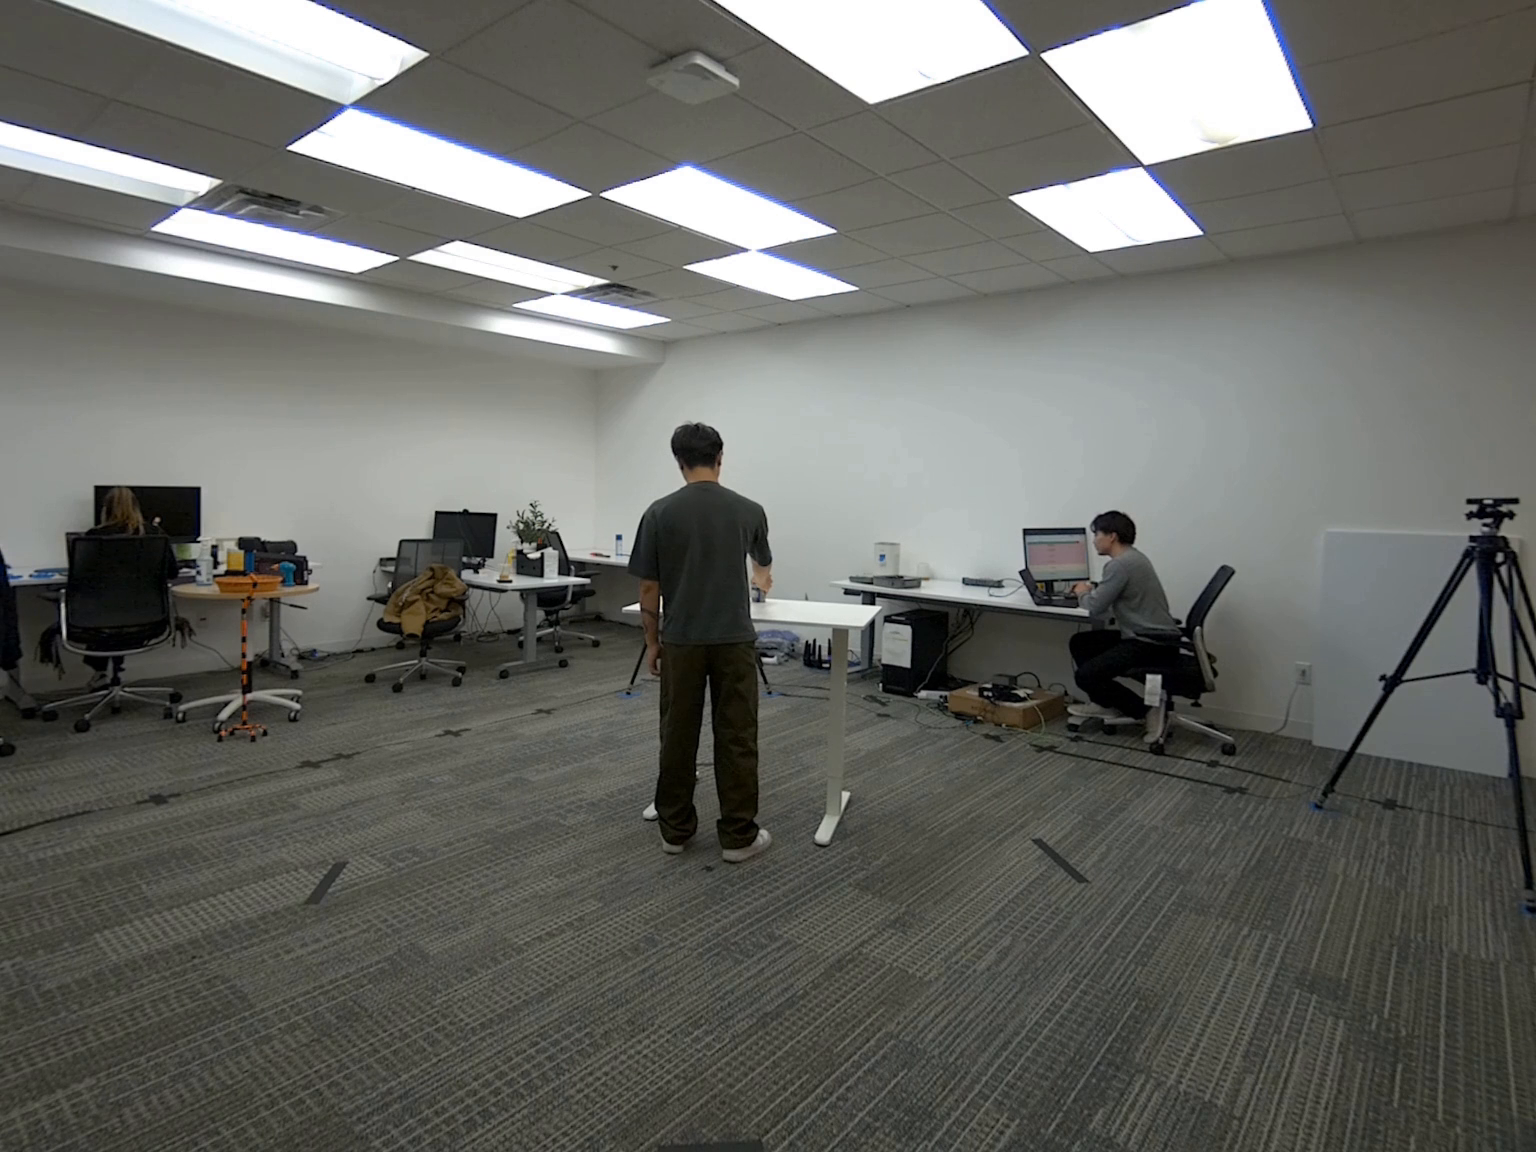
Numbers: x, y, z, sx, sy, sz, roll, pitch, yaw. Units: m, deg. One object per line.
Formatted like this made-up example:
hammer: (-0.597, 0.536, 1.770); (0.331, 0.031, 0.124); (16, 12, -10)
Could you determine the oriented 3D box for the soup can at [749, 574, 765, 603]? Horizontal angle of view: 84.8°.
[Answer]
soup can: (-0.050, 0.054, 3.852); (0.067, 0.121, 0.067); (2, 0, -2)
